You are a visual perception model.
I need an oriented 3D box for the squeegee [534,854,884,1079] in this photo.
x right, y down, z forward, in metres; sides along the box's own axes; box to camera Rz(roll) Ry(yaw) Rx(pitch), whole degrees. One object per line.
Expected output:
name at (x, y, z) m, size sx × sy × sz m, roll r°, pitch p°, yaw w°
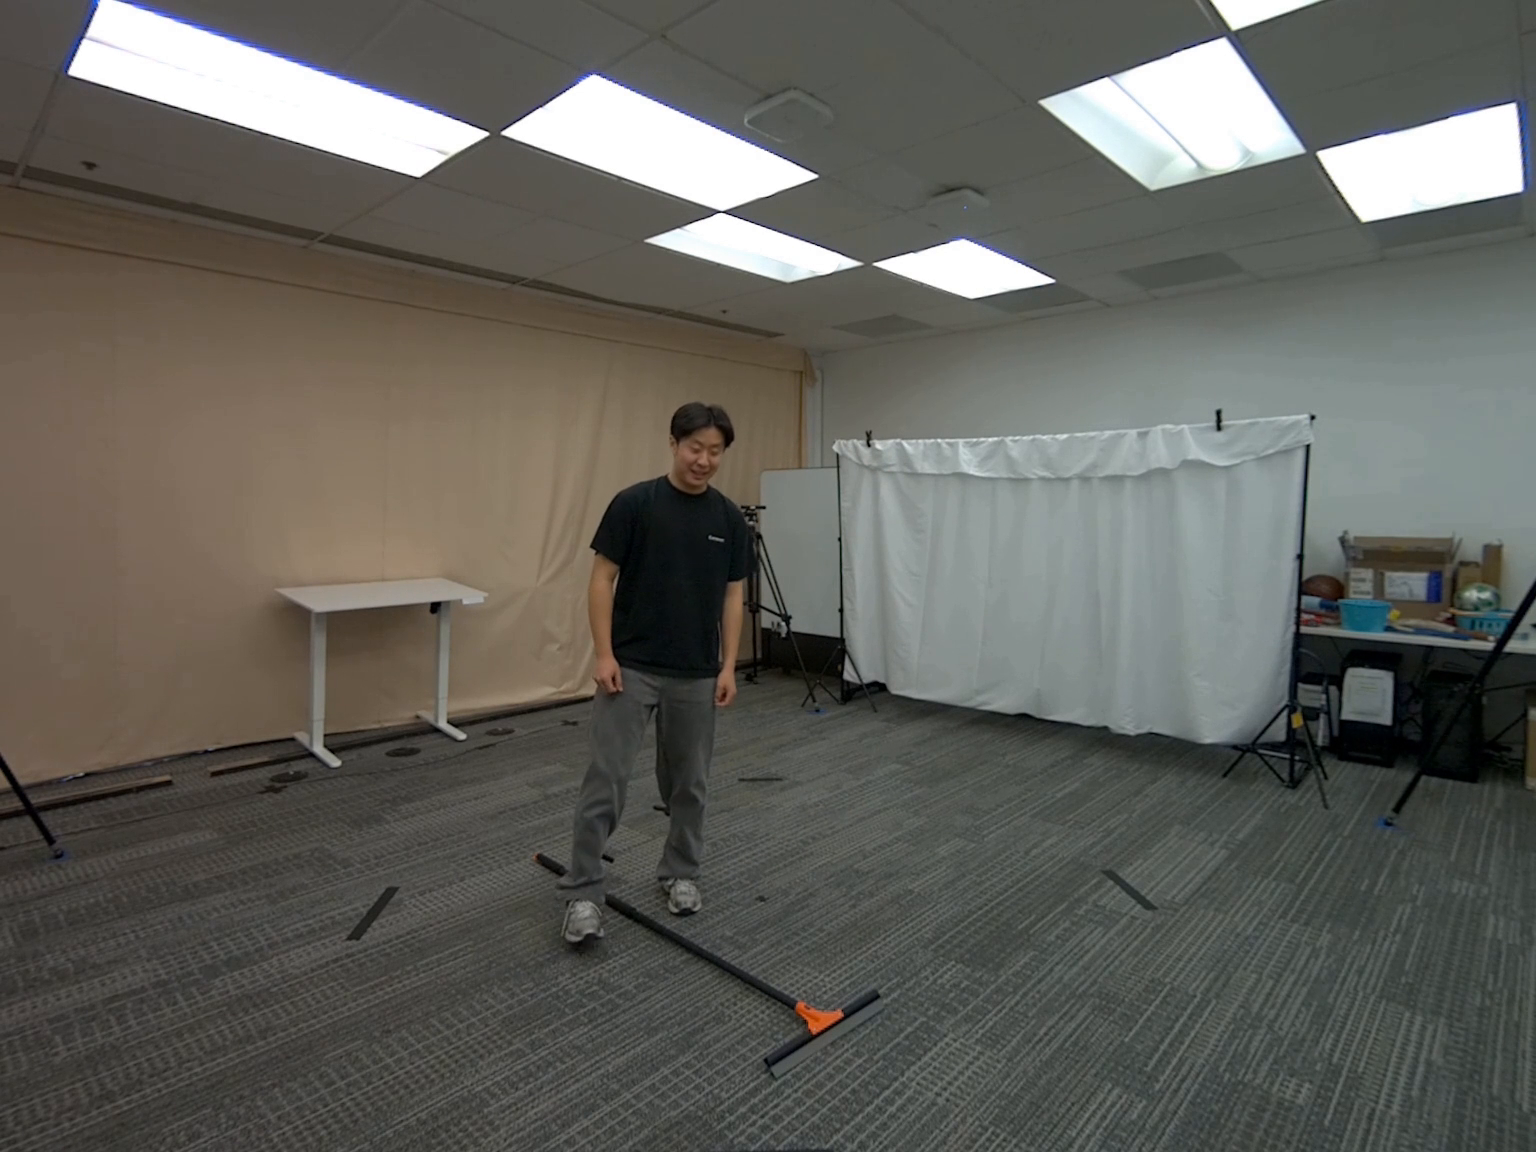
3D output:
squeegee at (-0.367, 1.129, 2.757) m, size 0.424 × 0.053 × 1.588 m, roll -3°, pitch 4°, yaw -43°
